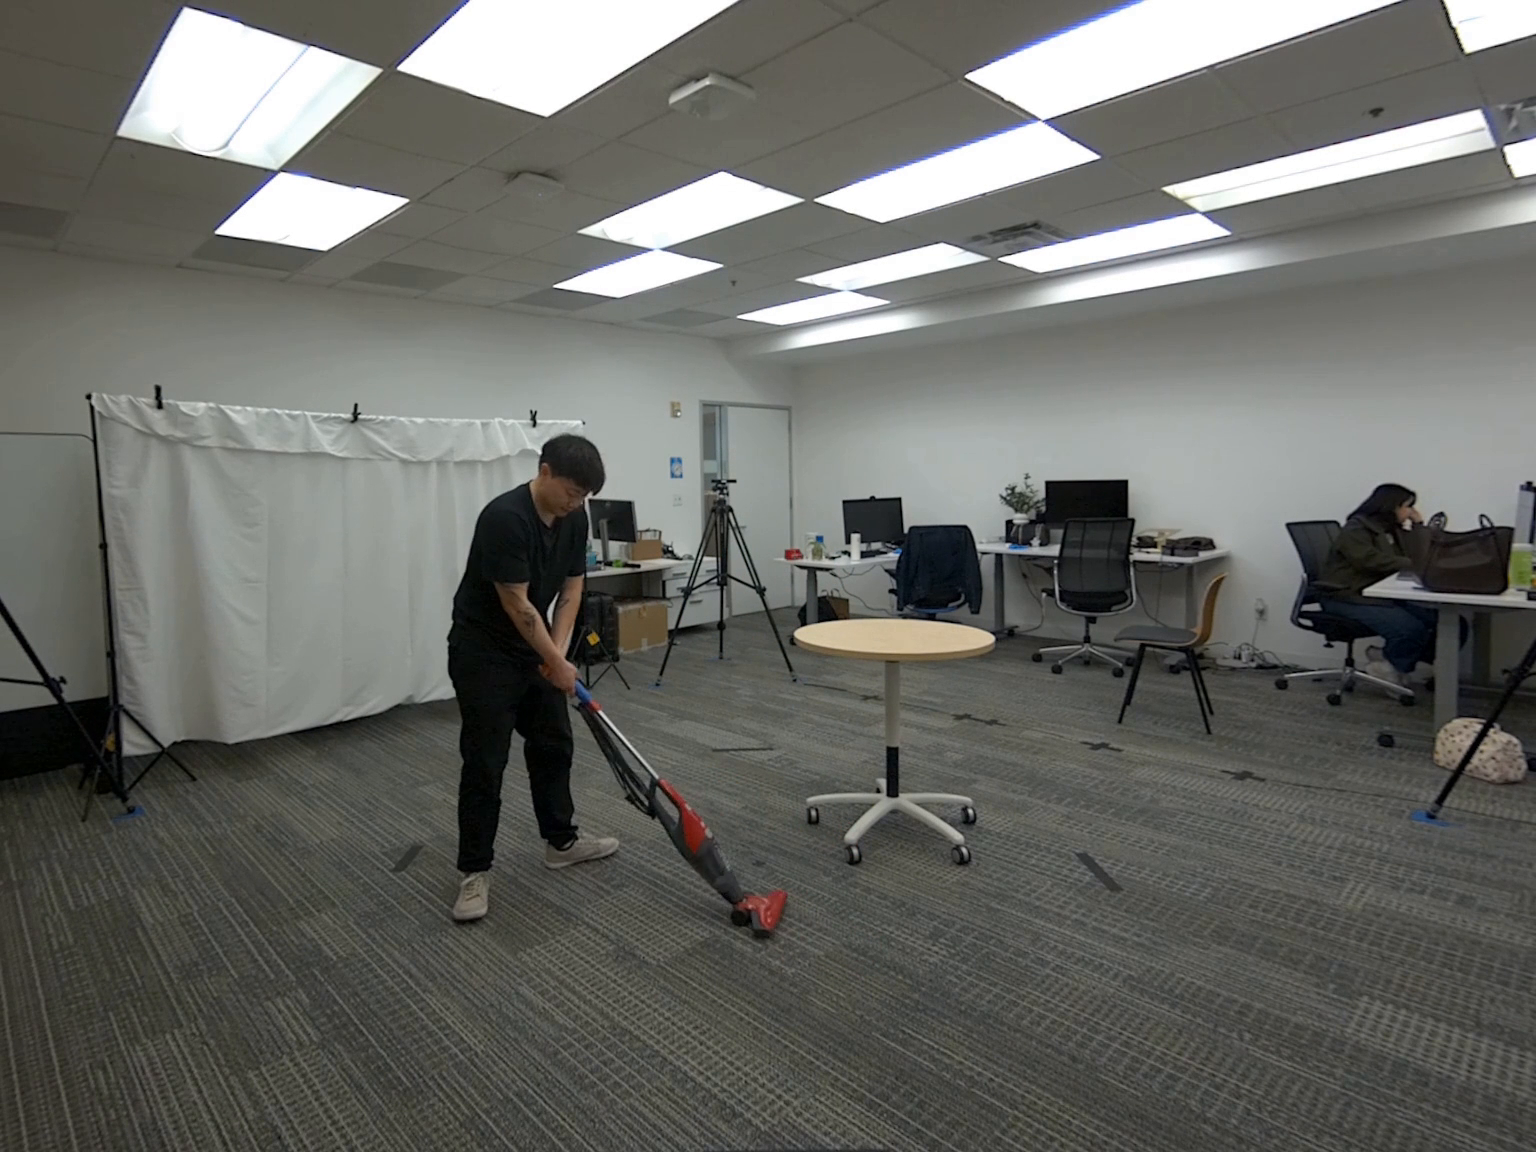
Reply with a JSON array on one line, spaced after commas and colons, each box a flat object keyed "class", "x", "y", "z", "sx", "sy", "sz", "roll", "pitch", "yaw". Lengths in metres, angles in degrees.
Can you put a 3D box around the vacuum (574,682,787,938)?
[{"class": "vacuum", "x": -0.376, "y": 0.698, "z": 2.801, "sx": 0.144, "sy": 1.063, "sz": 0.249, "roll": -45, "pitch": -9, "yaw": 9}]
